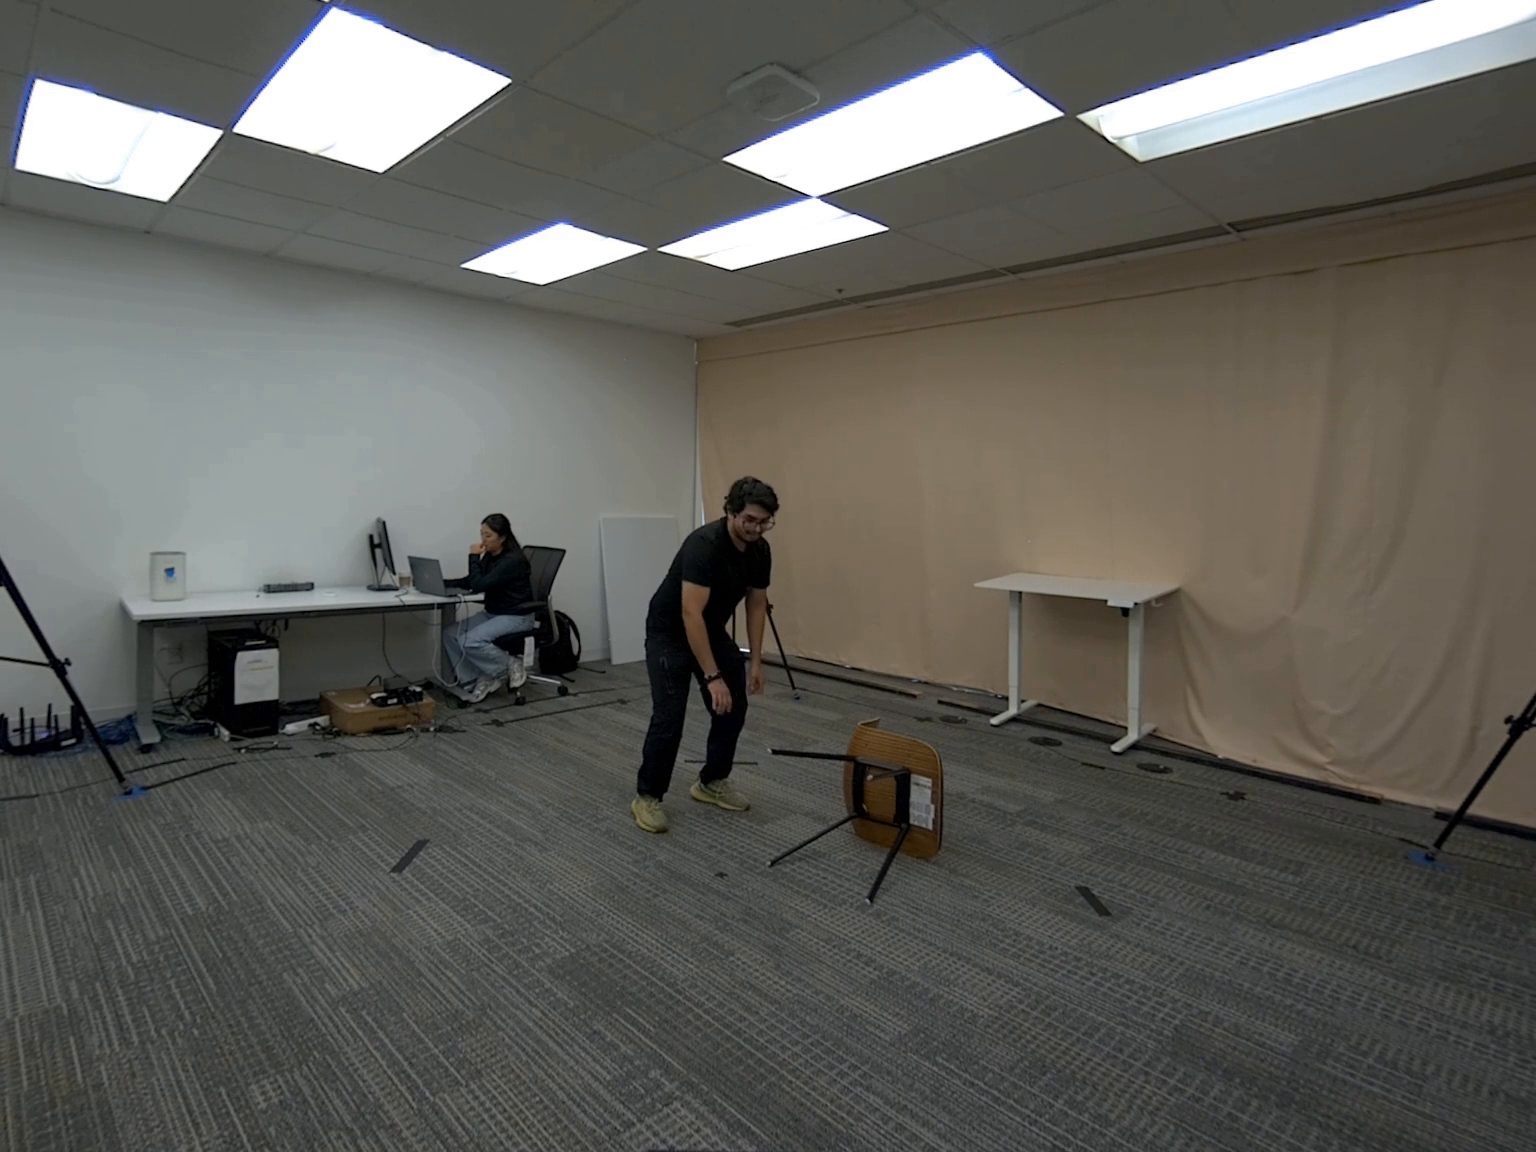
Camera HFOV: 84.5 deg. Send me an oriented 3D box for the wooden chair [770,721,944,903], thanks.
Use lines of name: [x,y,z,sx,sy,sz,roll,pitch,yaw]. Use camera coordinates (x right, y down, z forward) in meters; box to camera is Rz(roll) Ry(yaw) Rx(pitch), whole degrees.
wooden chair: [0.437,0.867,3.344,0.536,0.477,0.859,4,5,35]
